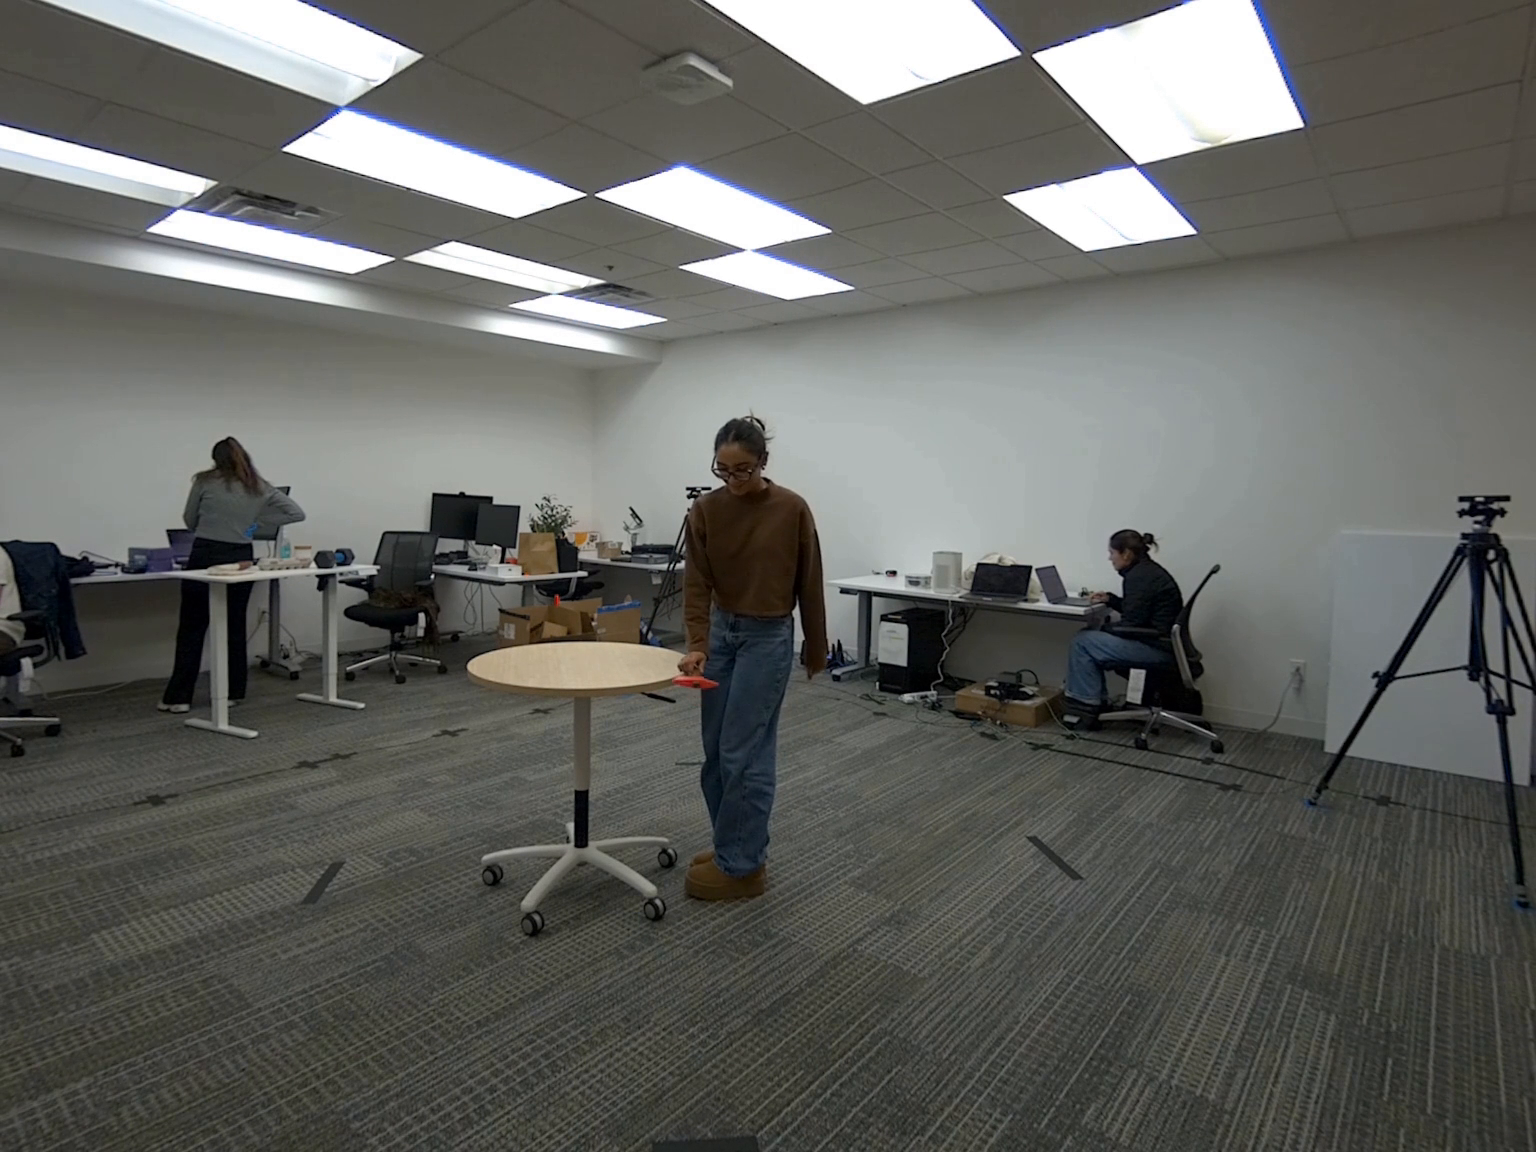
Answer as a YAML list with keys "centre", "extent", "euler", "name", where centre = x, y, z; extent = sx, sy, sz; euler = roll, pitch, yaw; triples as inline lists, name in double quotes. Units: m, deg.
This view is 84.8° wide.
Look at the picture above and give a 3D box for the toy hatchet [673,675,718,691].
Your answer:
- centre: [-0.190, 0.316, 2.639]
  extent: [0.134, 0.029, 0.263]
  euler: [5, 5, 25]
  name: "toy hatchet"
